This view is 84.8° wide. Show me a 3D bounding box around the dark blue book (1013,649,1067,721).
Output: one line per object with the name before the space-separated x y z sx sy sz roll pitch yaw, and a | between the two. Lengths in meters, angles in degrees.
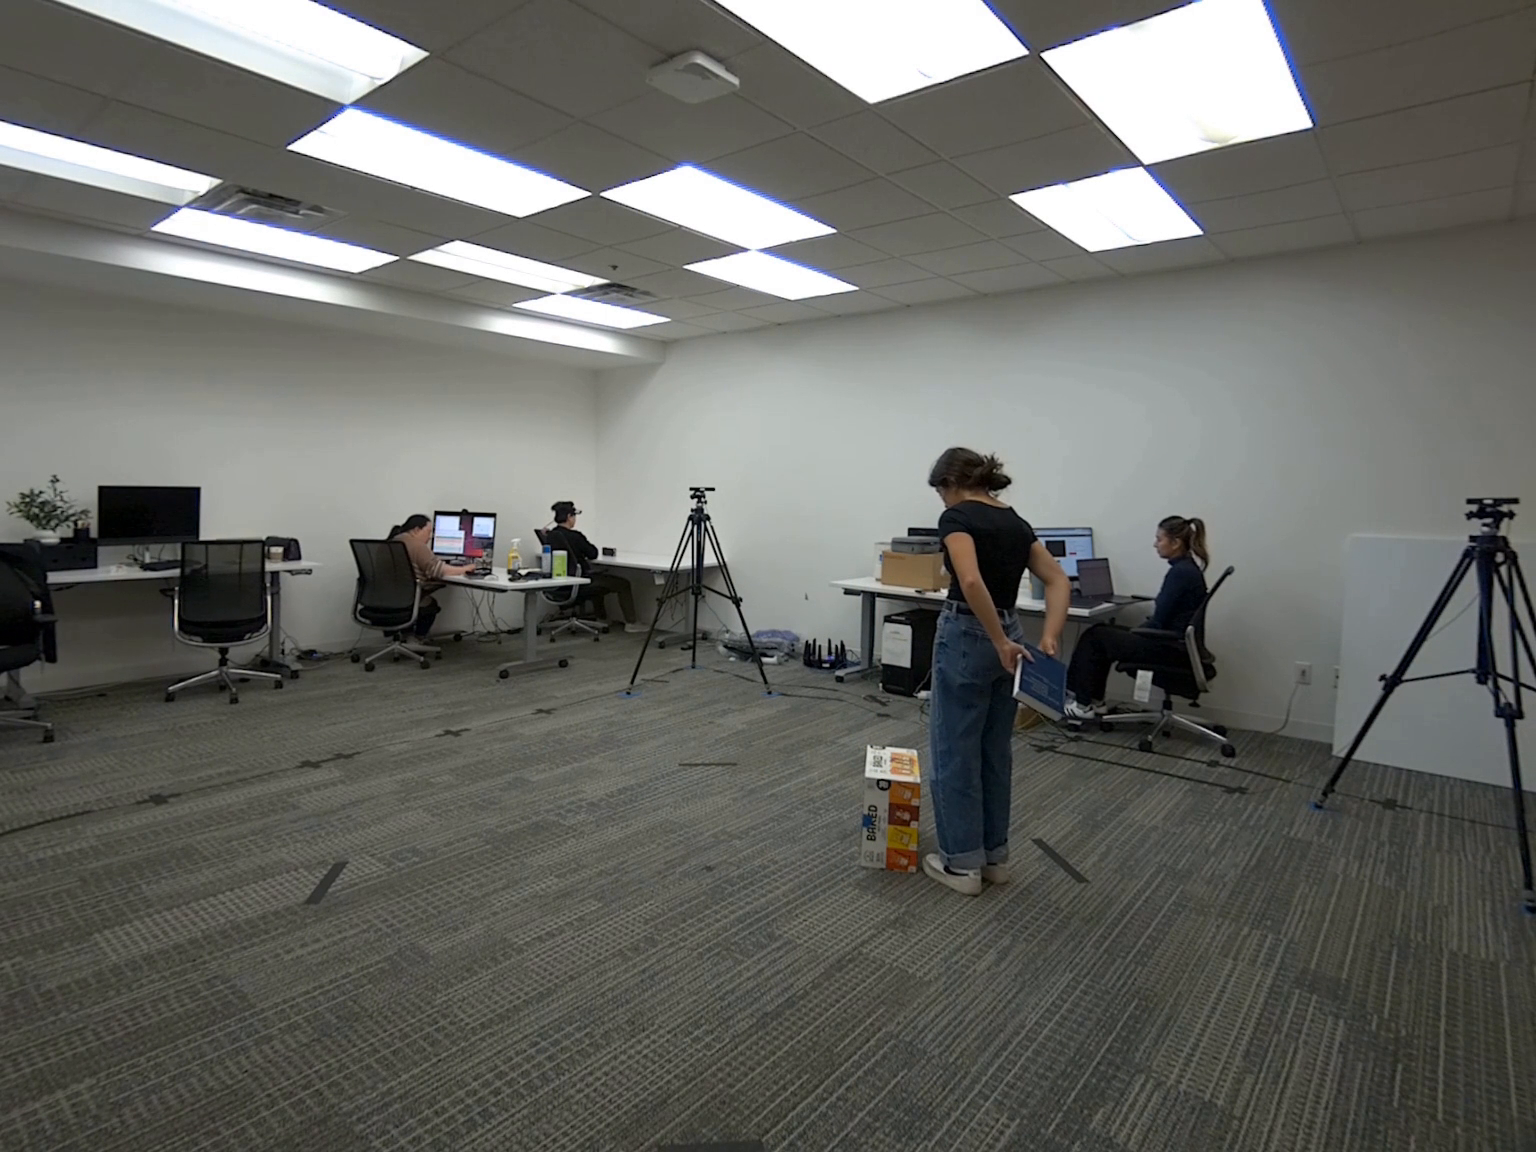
dark blue book | 0.873 0.339 2.742 0.164 0.044 0.247 27 38 2
